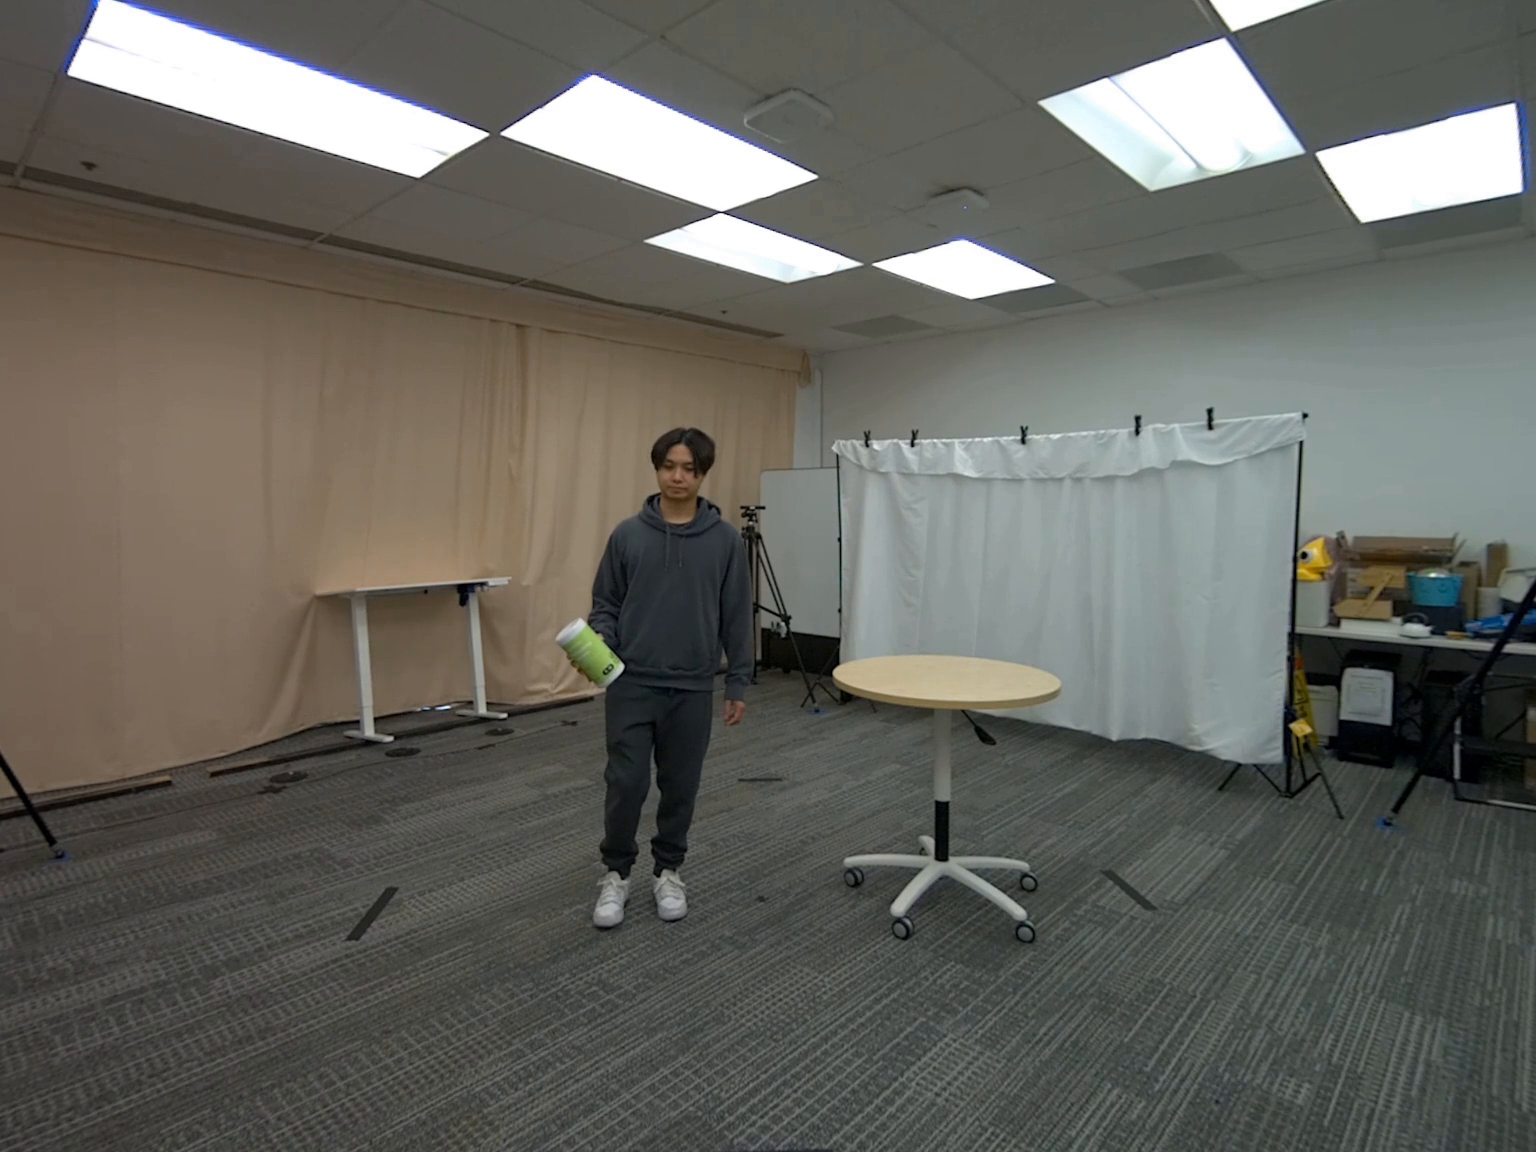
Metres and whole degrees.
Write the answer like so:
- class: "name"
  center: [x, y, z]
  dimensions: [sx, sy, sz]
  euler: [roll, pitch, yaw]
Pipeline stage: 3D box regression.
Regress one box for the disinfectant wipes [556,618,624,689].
- class: "disinfectant wipes"
  center: [-0.559, 0.240, 2.664]
  dimensions: [0.118, 0.214, 0.119]
  euler: [-38, 12, 8]
